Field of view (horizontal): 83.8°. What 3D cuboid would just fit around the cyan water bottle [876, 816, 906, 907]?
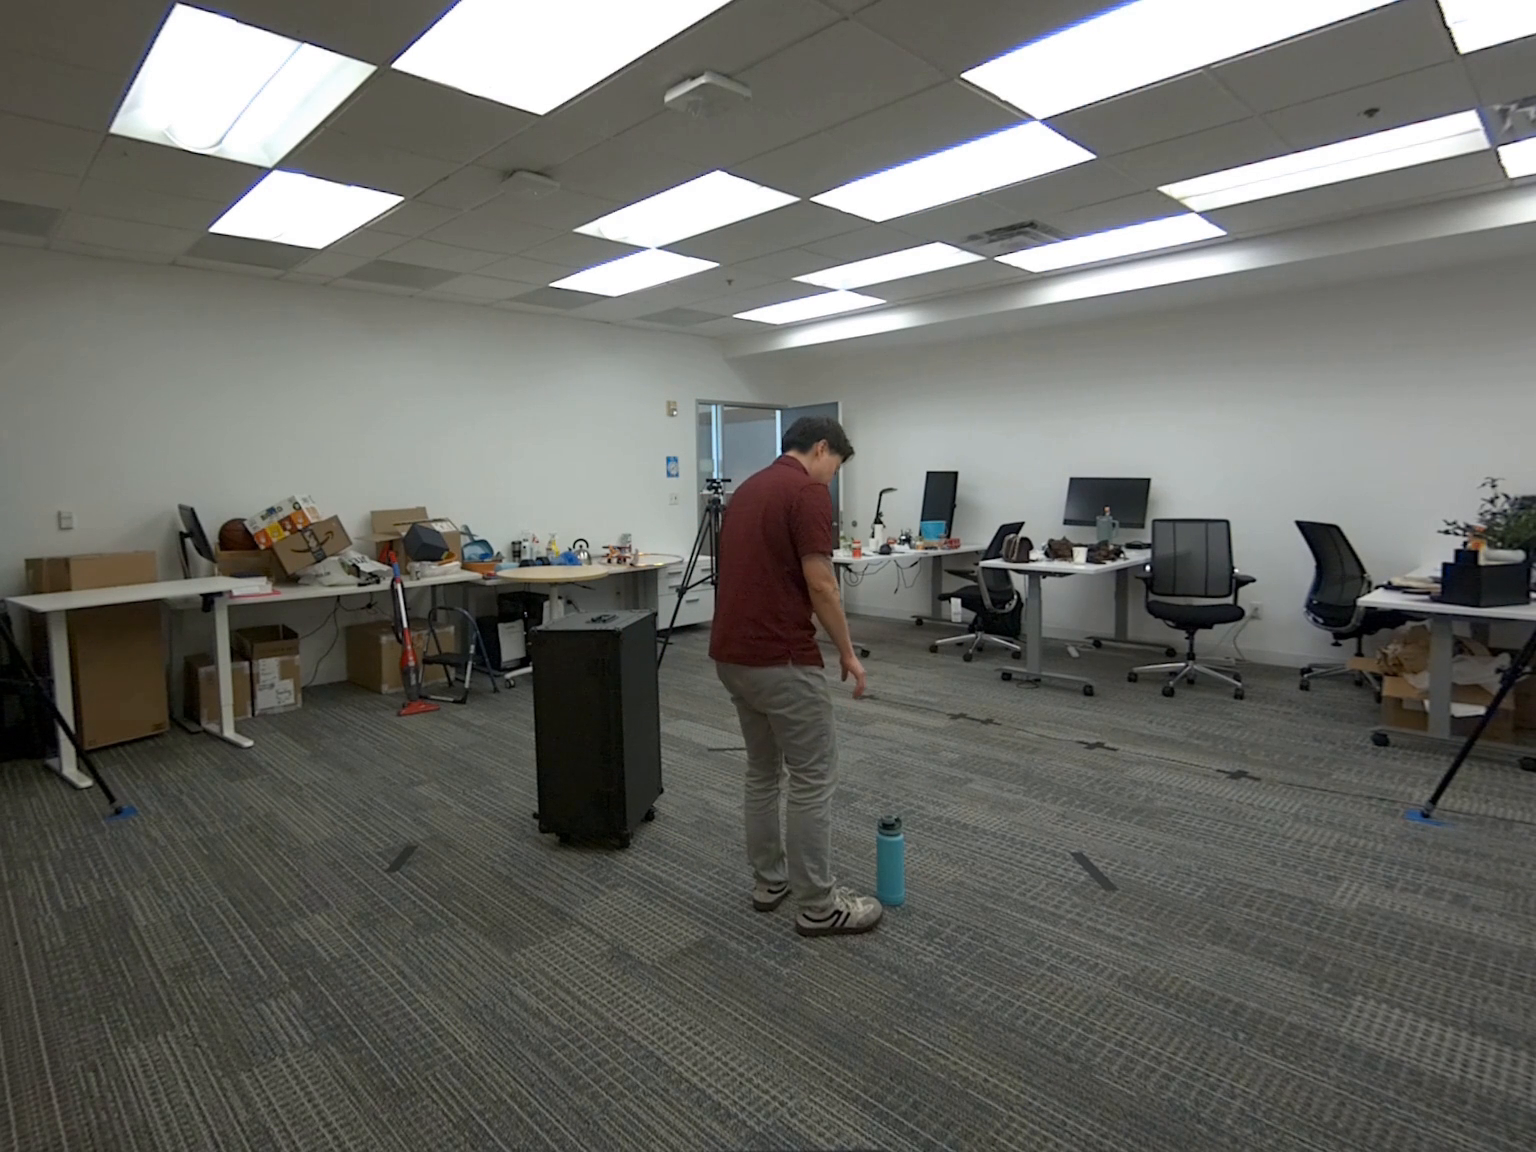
[{"bbox_3d":[0.401,0.924,2.815,0.092,0.282,0.093,-1,3,-2],"label":"cyan water bottle"}]
